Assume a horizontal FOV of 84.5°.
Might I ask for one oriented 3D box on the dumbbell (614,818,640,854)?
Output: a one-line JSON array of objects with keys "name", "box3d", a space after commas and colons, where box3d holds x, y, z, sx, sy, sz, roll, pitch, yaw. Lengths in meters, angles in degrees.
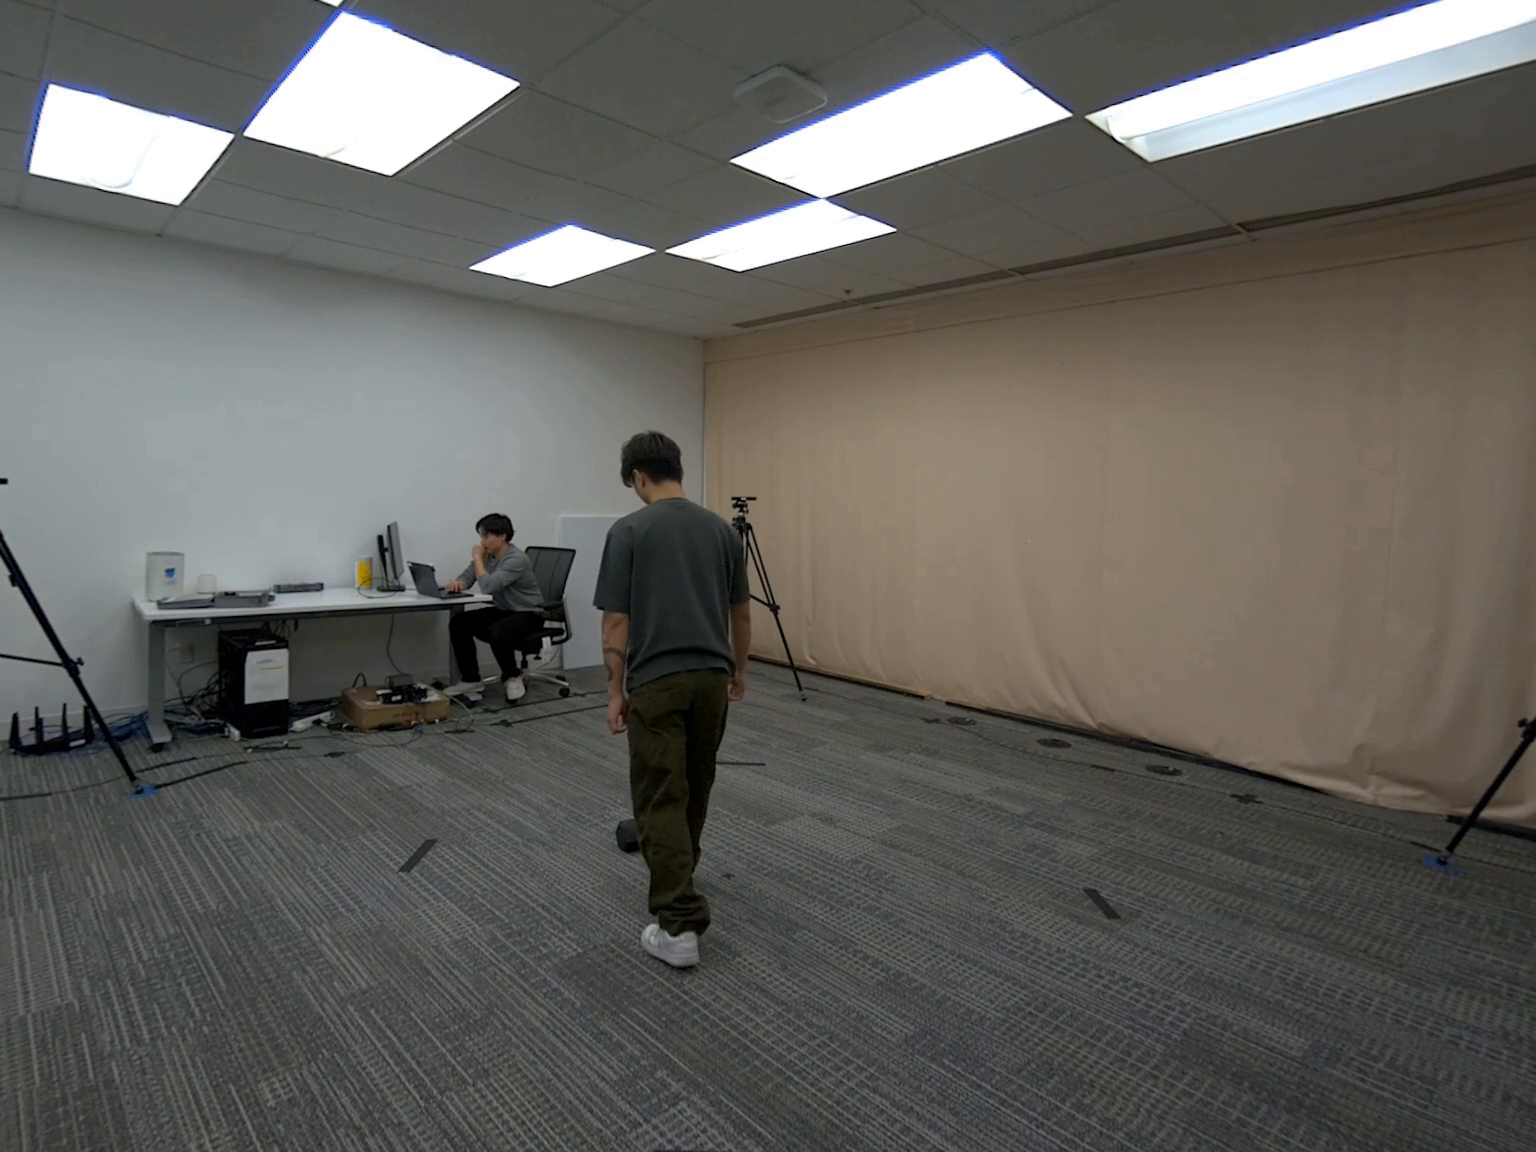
[{"name": "dumbbell", "box3d": [-0.463, 1.022, 3.374, 0.287, 0.125, 0.109, -2, -25, -33]}]
